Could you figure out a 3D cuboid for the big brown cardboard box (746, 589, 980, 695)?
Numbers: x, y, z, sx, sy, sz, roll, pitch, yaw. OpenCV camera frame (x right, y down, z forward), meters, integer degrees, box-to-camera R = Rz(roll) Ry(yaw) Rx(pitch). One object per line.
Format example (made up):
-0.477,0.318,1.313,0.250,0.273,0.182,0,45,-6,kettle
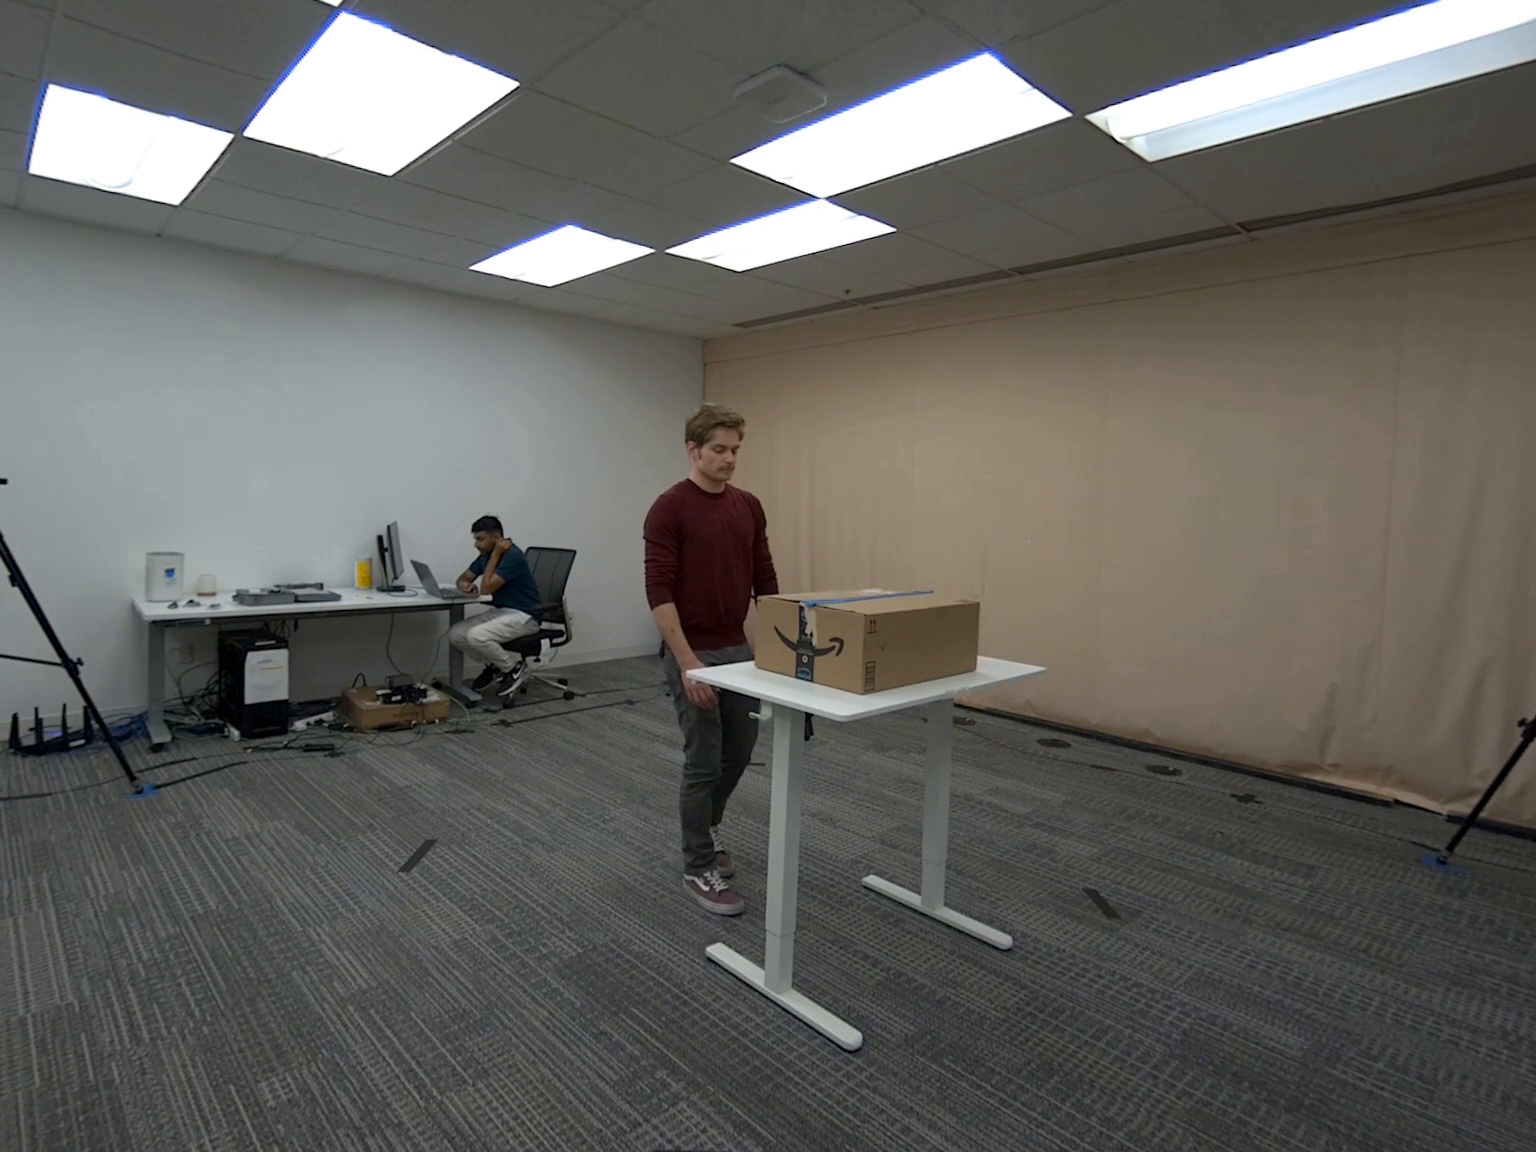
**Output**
0.300,0.174,2.555,0.576,0.232,0.428,-4,8,-43,big brown cardboard box
